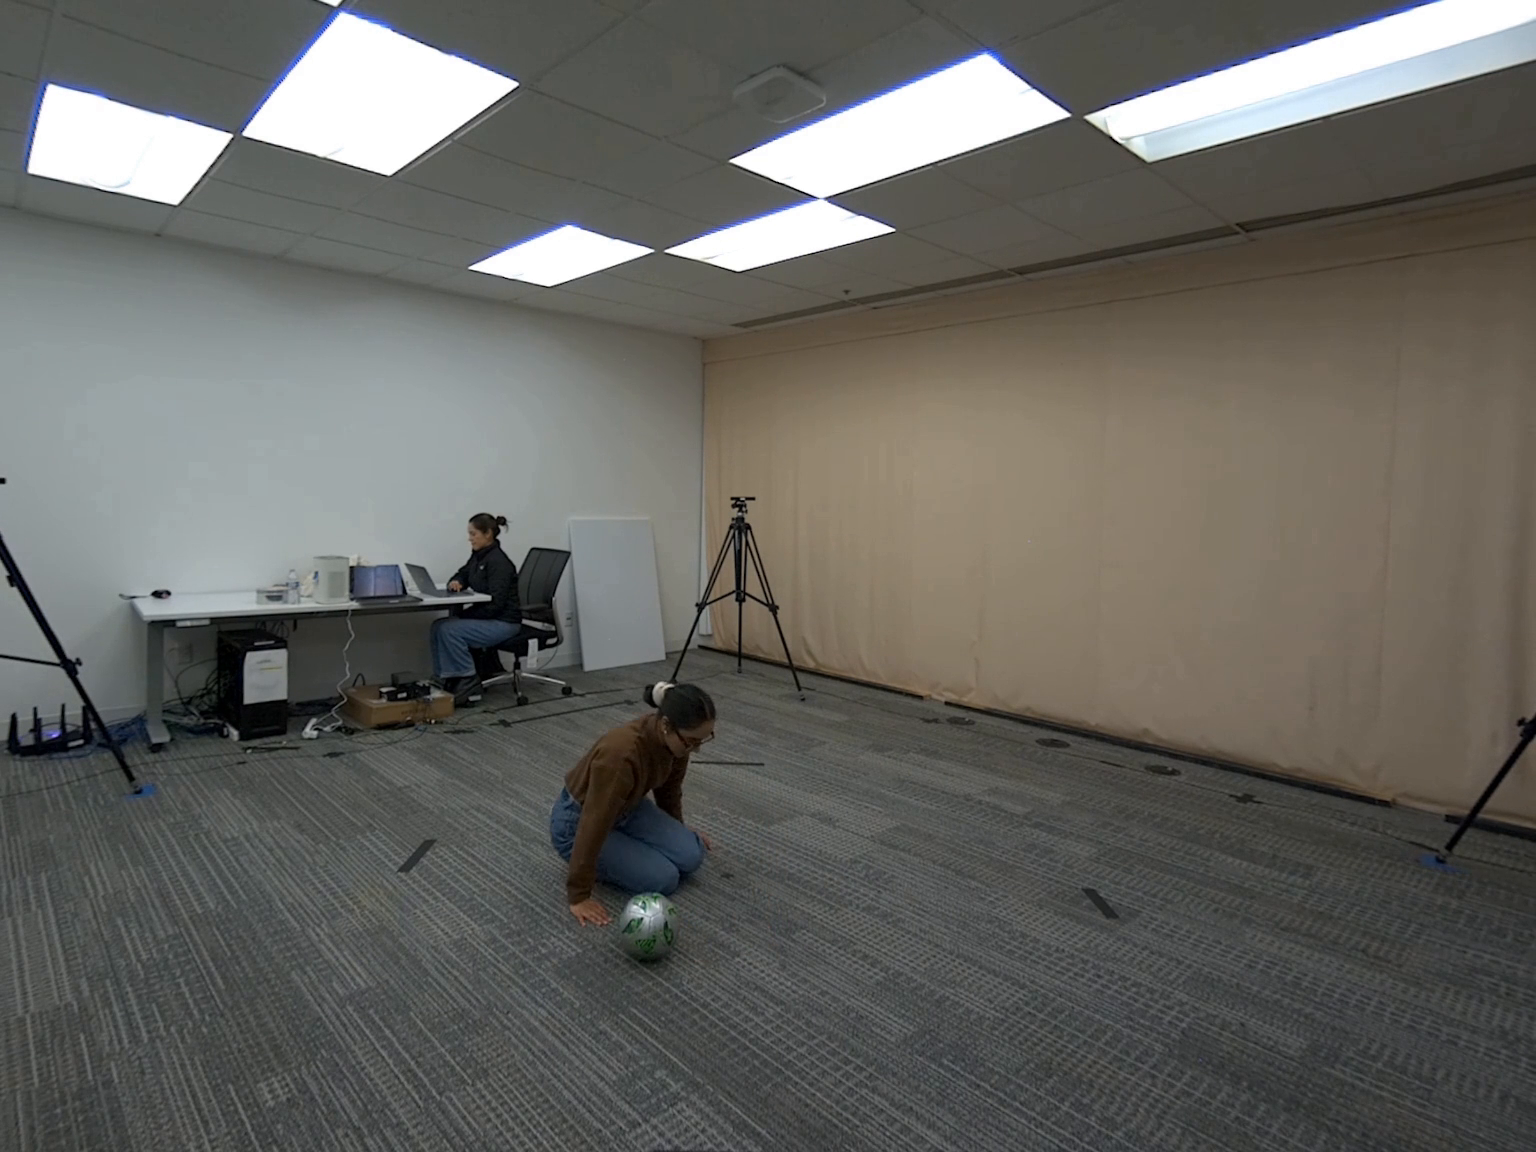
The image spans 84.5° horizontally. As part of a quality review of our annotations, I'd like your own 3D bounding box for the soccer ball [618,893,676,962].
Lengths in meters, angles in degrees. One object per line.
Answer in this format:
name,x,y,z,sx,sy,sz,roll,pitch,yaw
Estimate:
soccer ball,-0.371,1.059,2.541,0.187,0.187,0.188,1,4,-1
